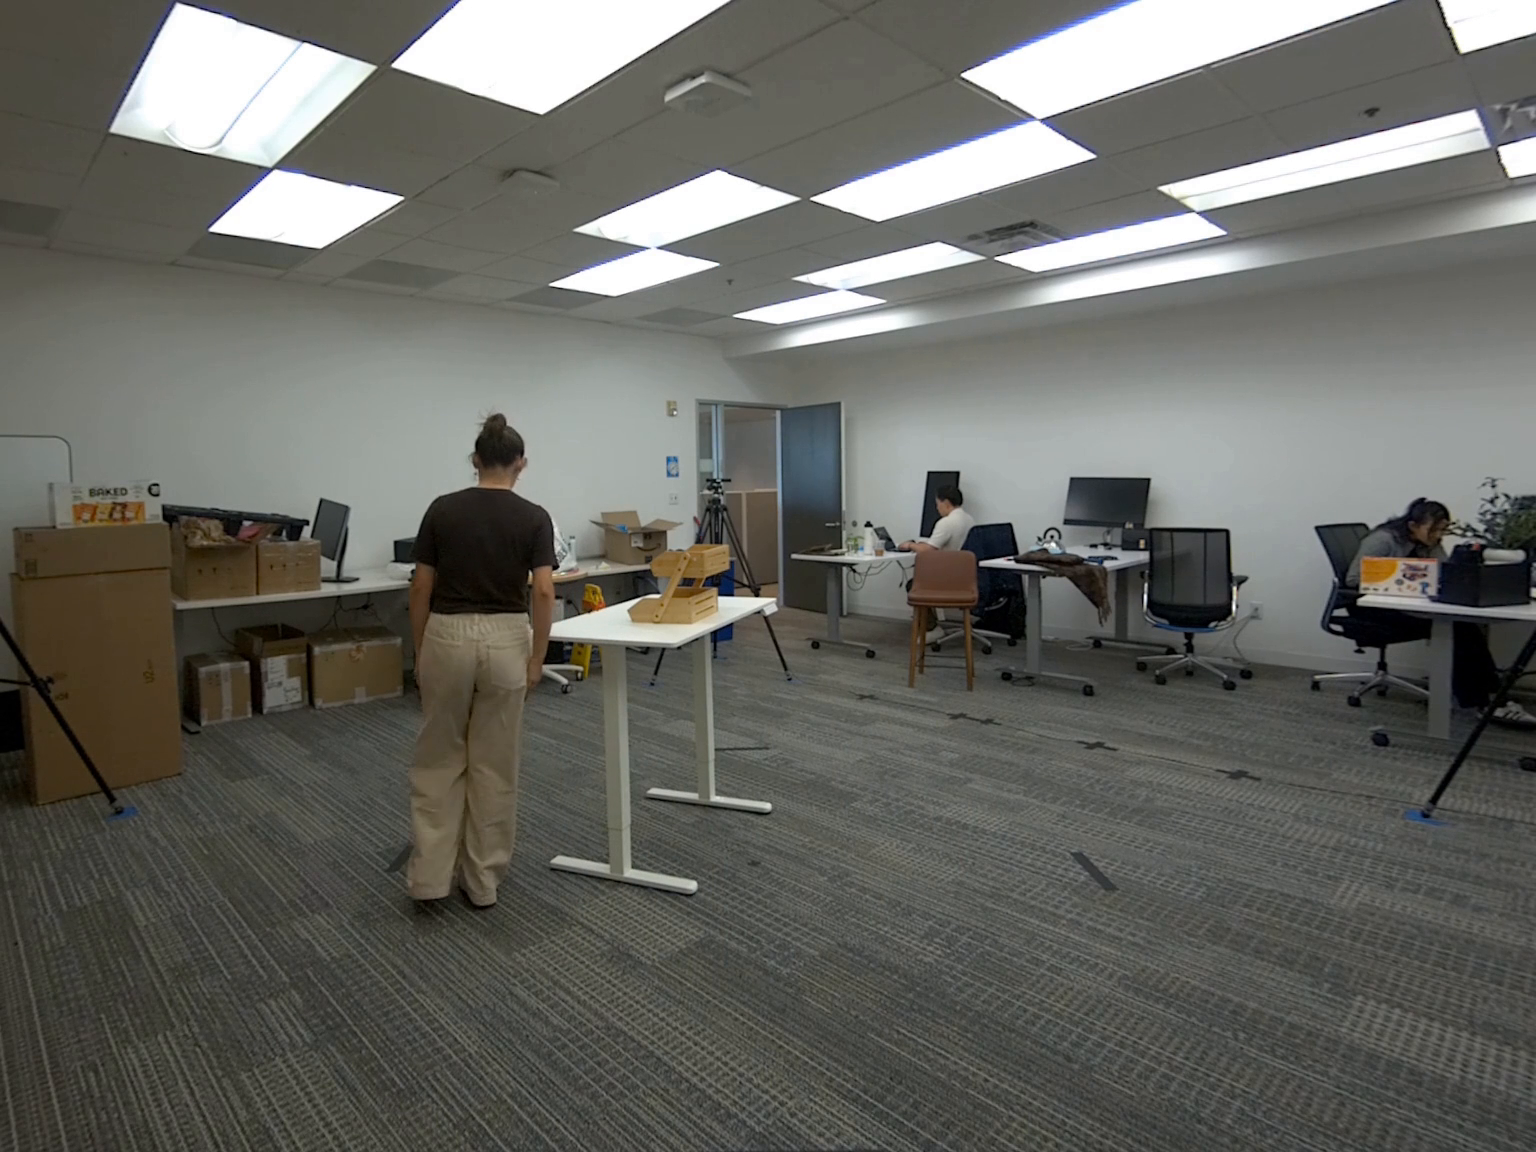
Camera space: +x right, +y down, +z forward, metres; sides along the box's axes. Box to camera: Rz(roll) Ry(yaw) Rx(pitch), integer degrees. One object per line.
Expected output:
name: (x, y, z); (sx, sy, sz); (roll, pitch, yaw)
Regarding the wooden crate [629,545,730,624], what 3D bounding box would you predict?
wooden crate: (-0.336, 0.022, 3.209); (0.307, 0.272, 0.321); (0, 6, 15)
